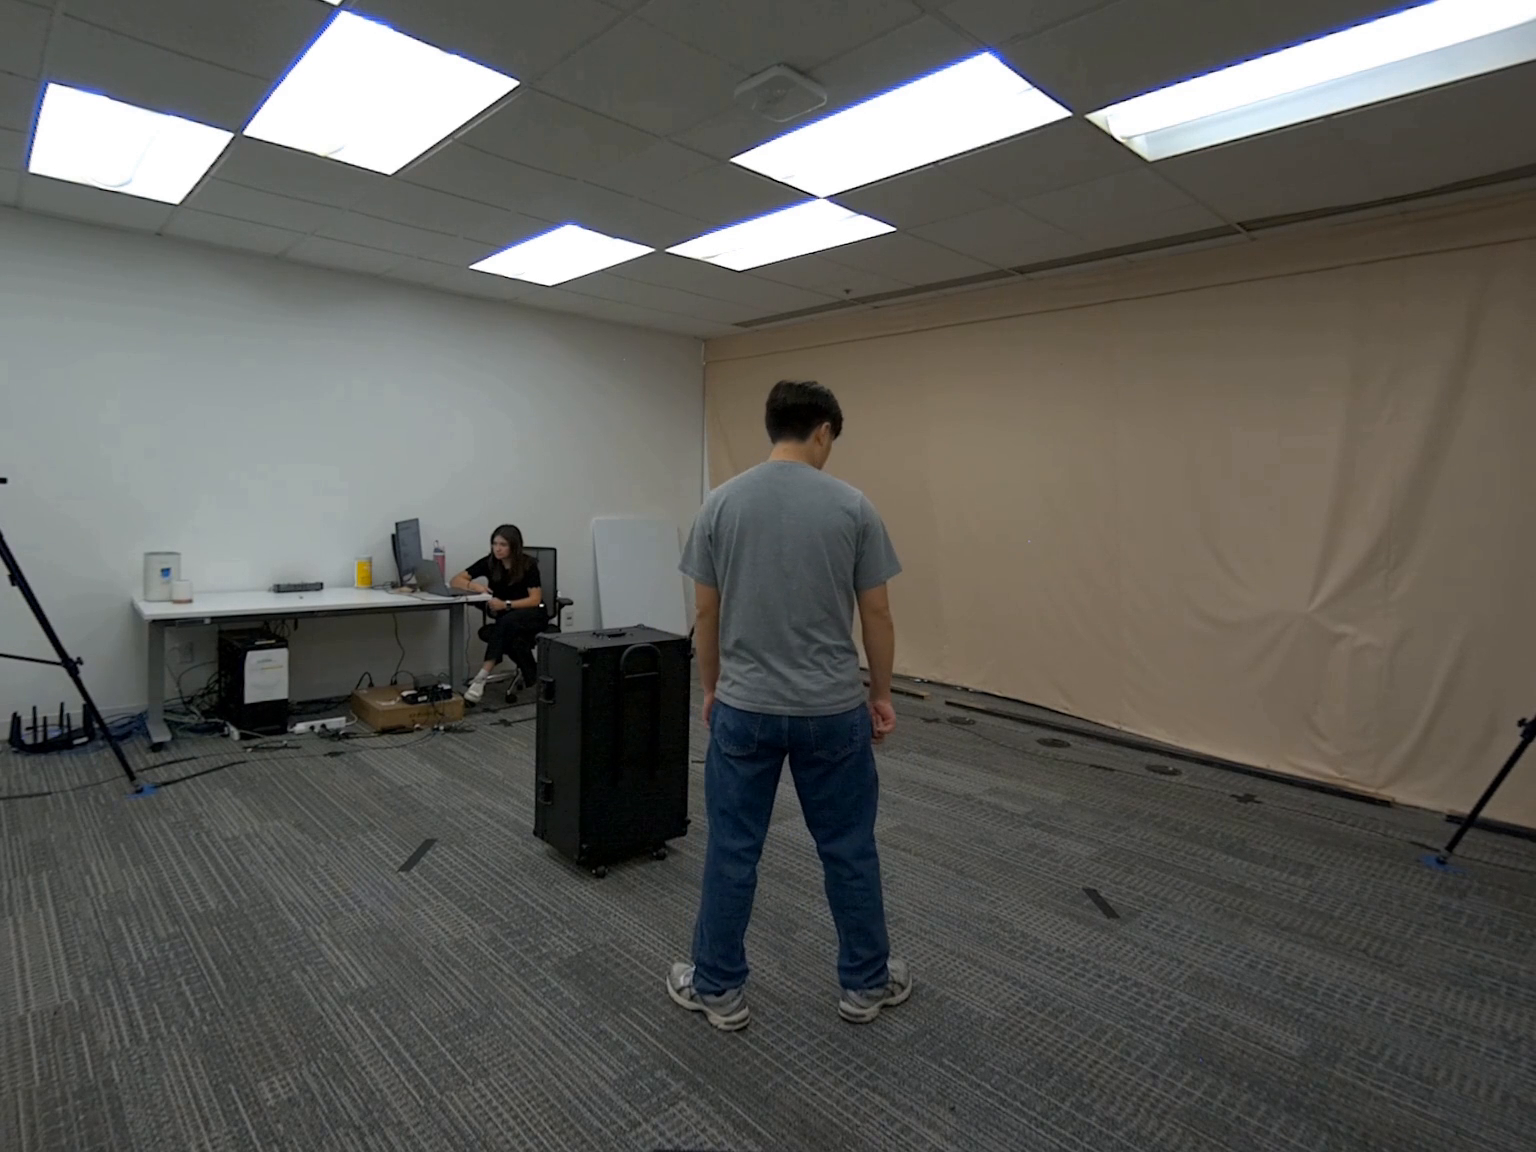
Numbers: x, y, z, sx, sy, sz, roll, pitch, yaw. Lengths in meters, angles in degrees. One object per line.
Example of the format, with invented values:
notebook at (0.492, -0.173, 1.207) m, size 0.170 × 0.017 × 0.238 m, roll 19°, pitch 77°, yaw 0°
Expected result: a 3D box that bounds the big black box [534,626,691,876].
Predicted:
big black box at (-0.598, 0.655, 3.249) m, size 0.509 × 0.859 × 0.406 m, roll -2°, pitch 5°, yaw -41°
